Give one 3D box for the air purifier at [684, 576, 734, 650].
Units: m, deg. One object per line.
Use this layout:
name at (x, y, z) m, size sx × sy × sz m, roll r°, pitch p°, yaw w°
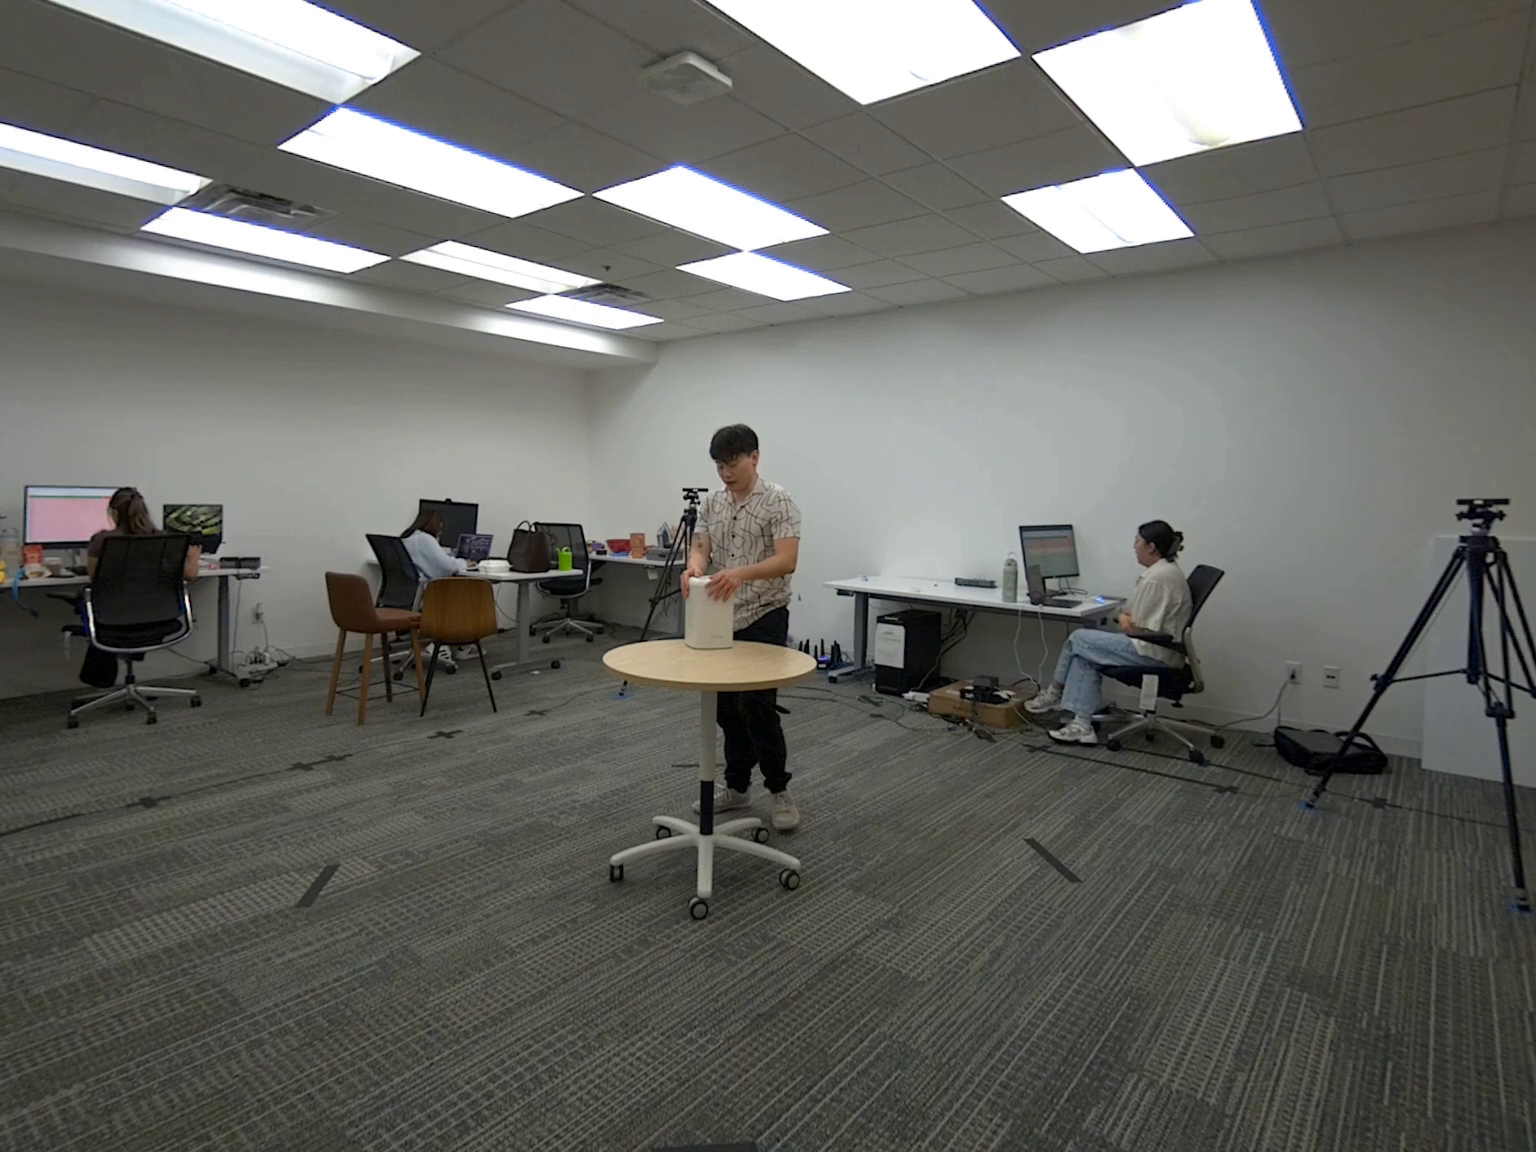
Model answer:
air purifier at (-0.235, 0.136, 3.302) m, size 0.168 × 0.265 × 0.175 m, roll 3°, pitch 3°, yaw -15°
